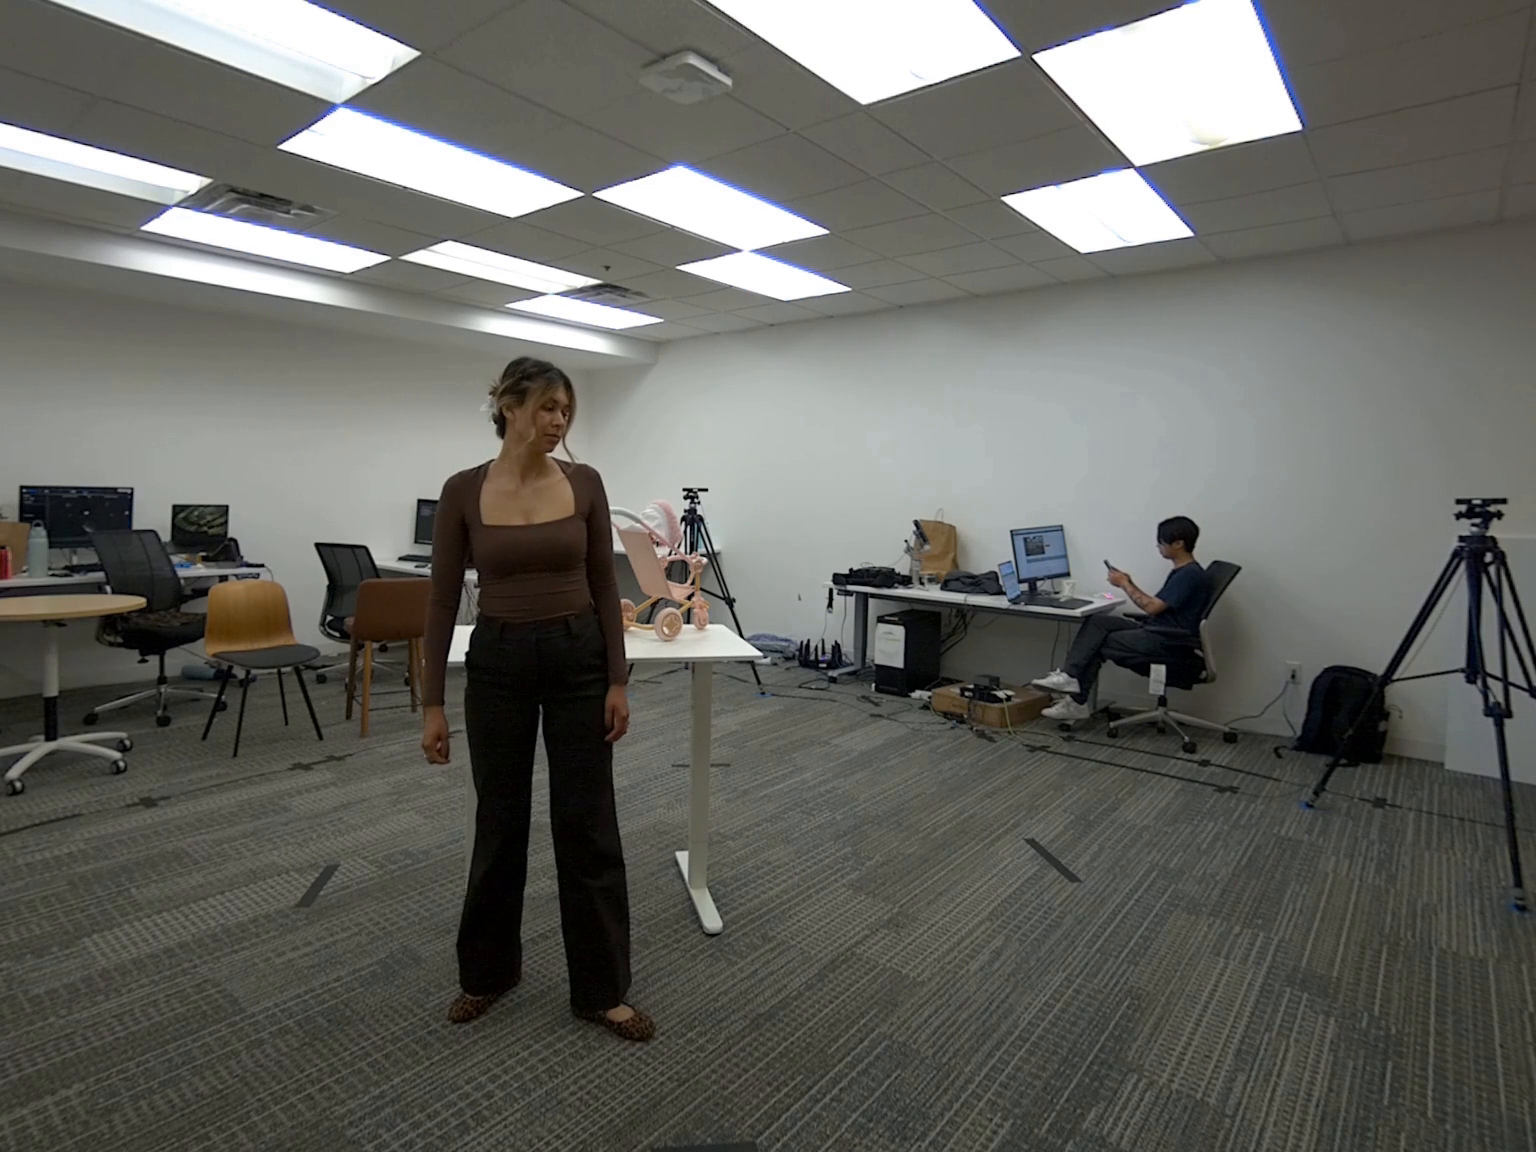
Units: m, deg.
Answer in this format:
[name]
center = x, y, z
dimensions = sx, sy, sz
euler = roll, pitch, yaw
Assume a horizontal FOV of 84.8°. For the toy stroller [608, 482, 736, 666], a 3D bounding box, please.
[toy stroller]
center = -0.377, -0.026, 2.945
dimensions = 0.335, 0.527, 0.291
euler = -21, 17, -38
